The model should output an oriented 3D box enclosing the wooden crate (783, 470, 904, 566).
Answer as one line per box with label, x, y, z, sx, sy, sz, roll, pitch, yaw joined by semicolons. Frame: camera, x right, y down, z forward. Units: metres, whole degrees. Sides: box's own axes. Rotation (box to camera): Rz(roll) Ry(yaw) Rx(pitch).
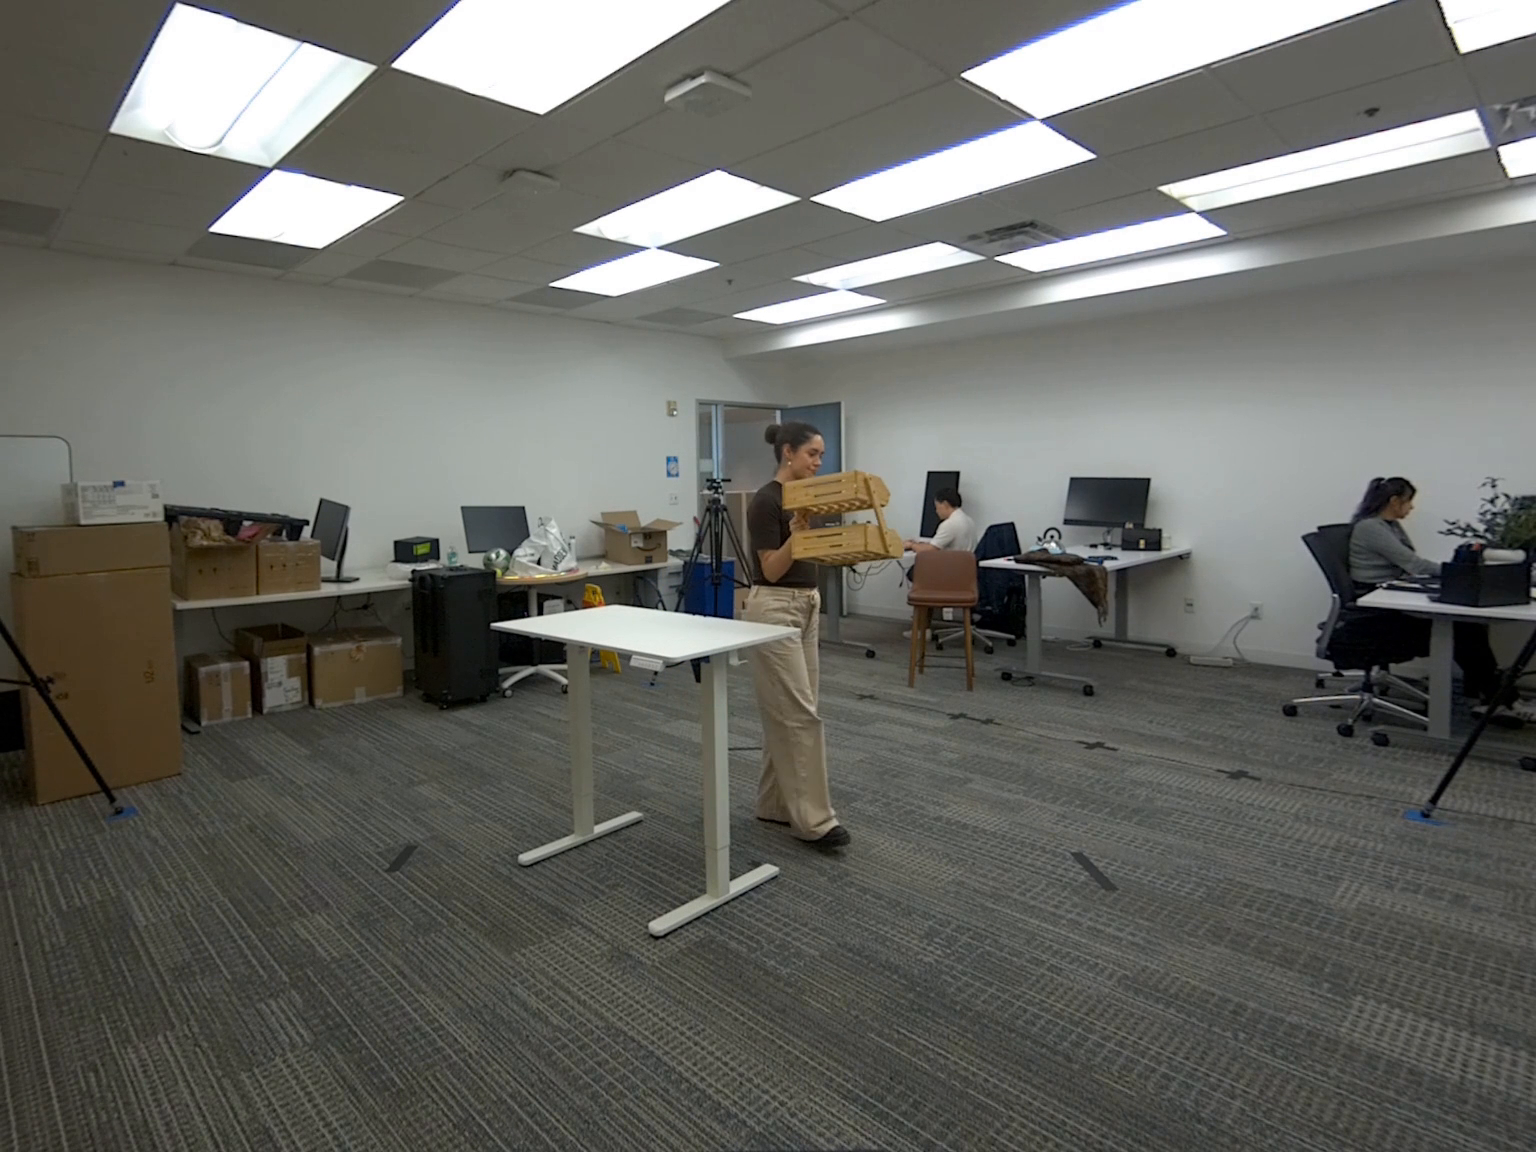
wooden crate;0.264;-0.195;2.952;0.333;0.275;0.292;-6;-9;40
